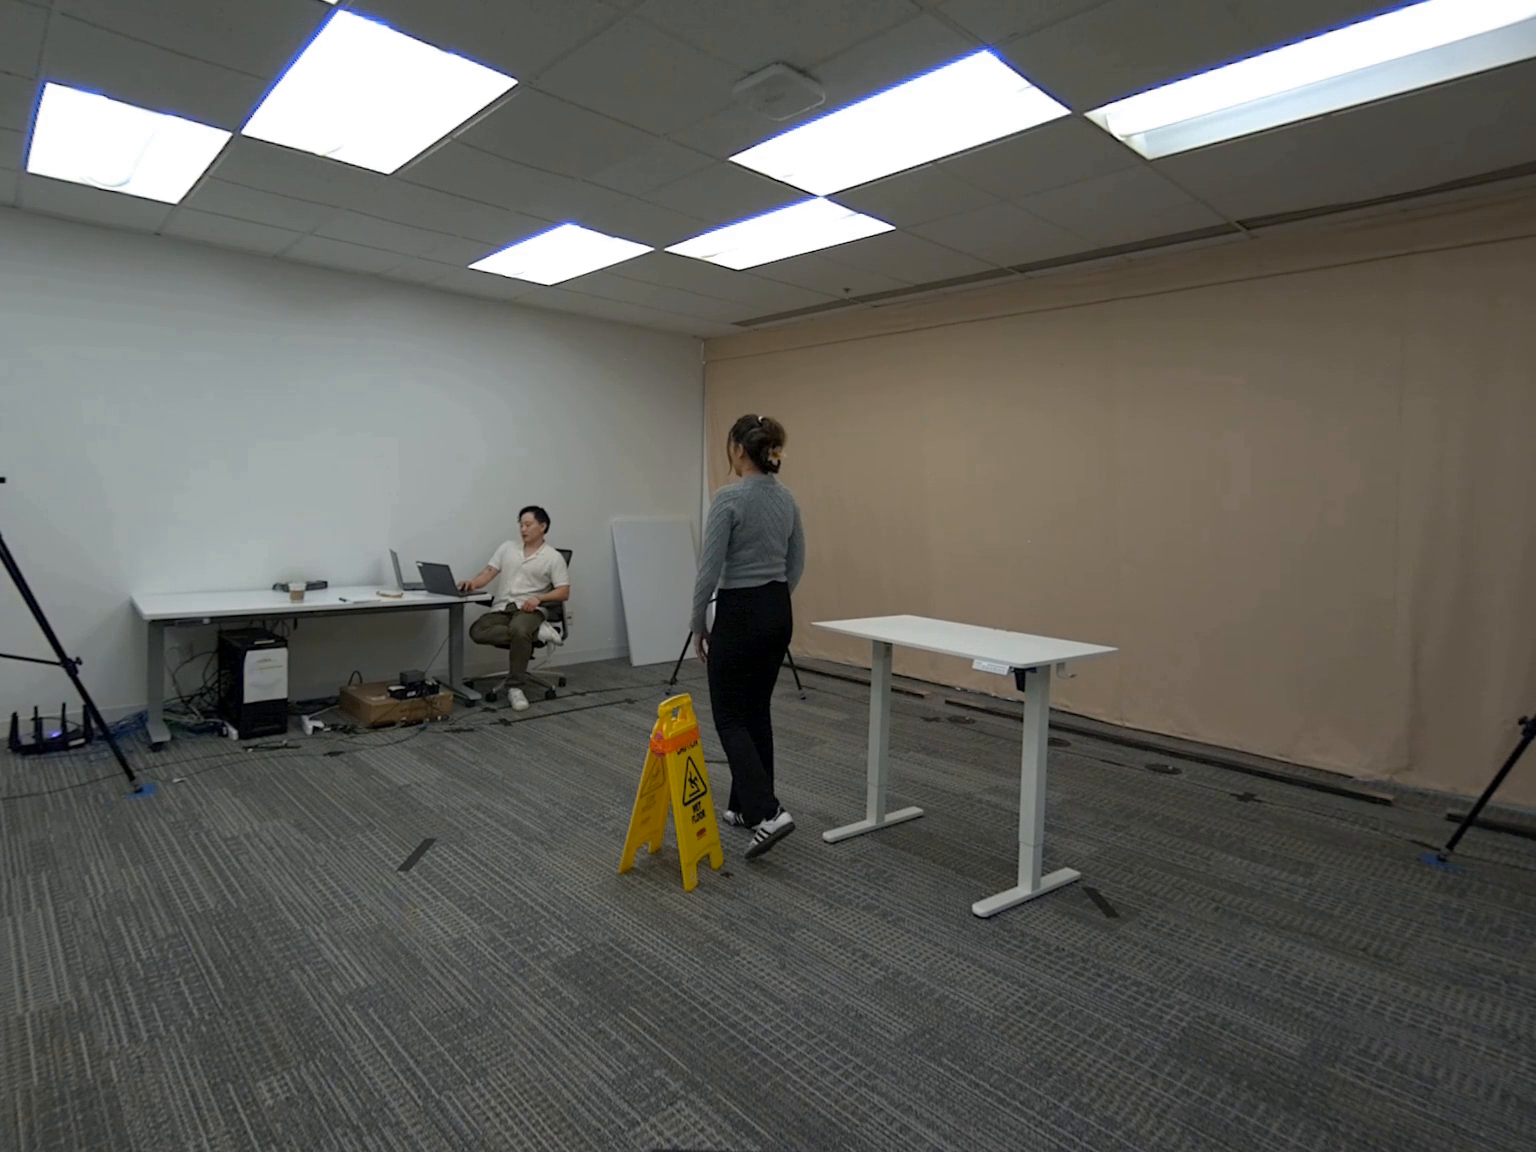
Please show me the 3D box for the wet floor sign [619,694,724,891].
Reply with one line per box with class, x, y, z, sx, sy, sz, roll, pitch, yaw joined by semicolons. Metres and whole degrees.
wet floor sign;-0.362;0.772;3.124;0.295;0.645;0.277;2;2;25
